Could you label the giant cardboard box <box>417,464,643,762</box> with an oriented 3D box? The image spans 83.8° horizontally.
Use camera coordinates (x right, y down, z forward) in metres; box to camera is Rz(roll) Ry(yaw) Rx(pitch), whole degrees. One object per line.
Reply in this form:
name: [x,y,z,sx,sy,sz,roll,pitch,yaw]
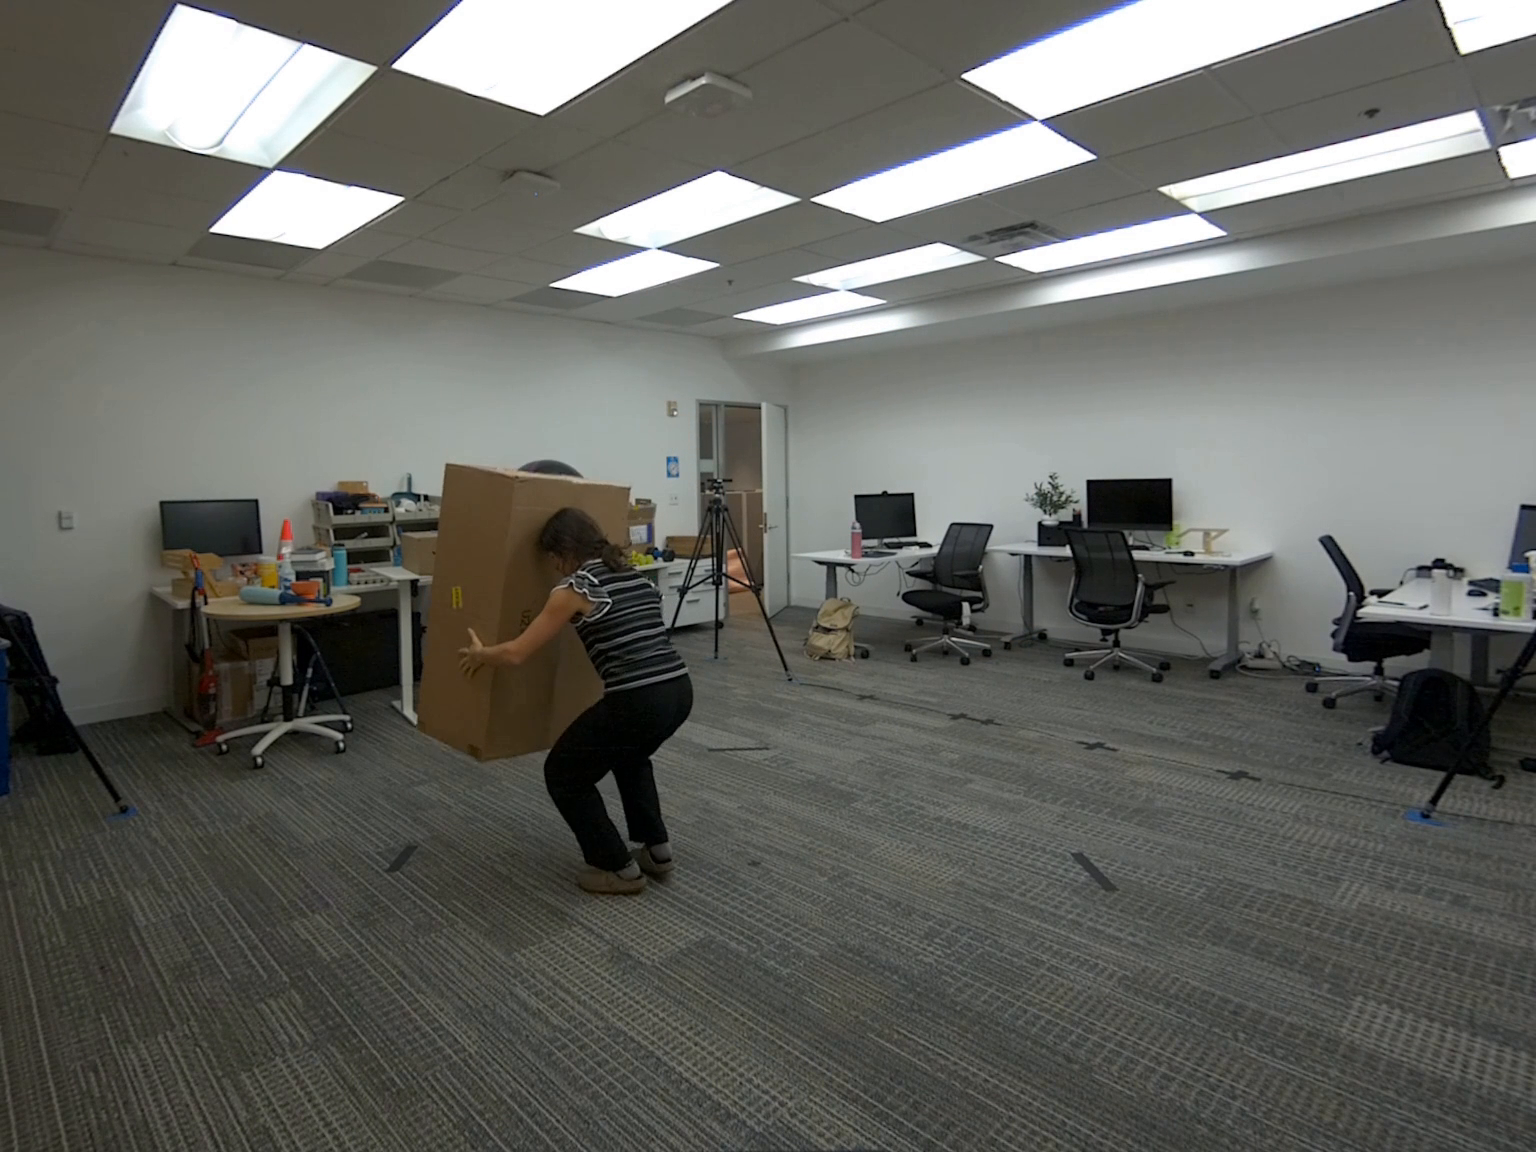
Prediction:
giant cardboard box: [-0.936,0.116,3.308,0.440,1.022,0.561,12,6,35]
